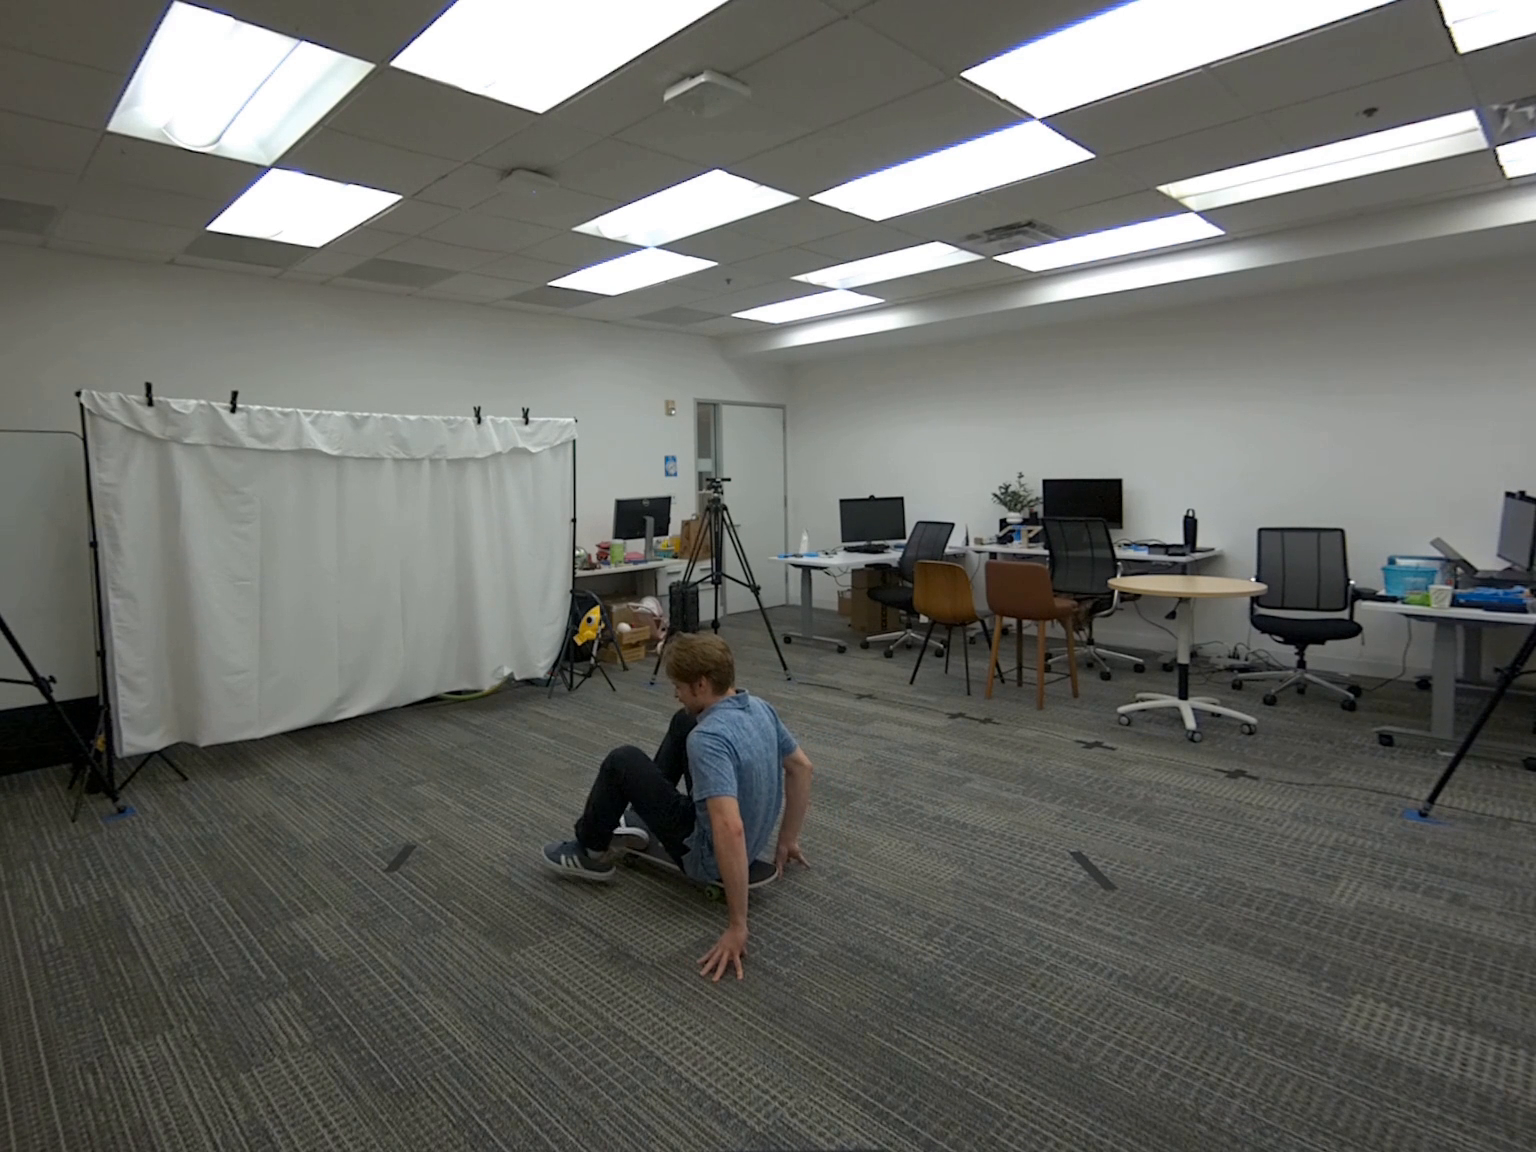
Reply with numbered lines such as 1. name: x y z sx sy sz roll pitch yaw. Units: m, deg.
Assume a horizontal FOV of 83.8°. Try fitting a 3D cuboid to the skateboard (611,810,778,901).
1. skateboard: -0.318 1.006 3.016 0.809 0.109 0.189 5 12 37
